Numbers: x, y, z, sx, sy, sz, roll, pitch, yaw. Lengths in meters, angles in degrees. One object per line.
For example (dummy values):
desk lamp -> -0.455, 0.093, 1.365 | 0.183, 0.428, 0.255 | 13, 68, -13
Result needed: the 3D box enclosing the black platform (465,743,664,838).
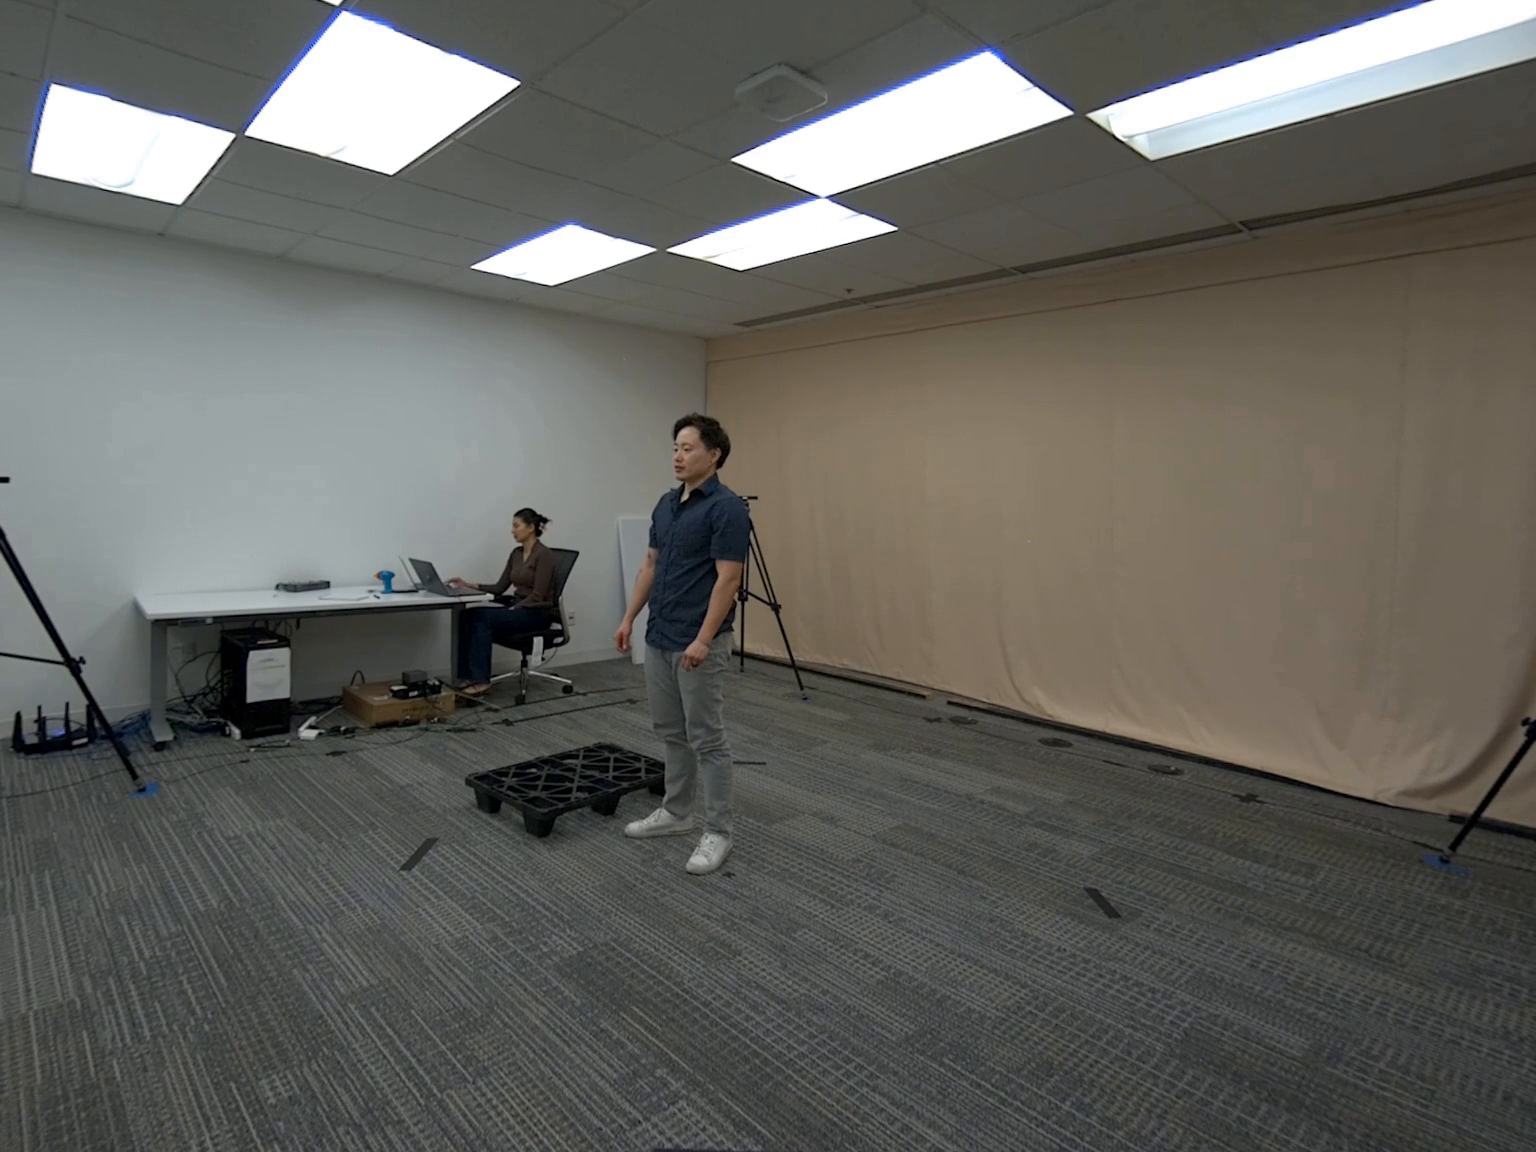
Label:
black platform -> -0.878, 0.958, 3.819 | 0.620, 0.143, 0.787 | 5, 6, 41
